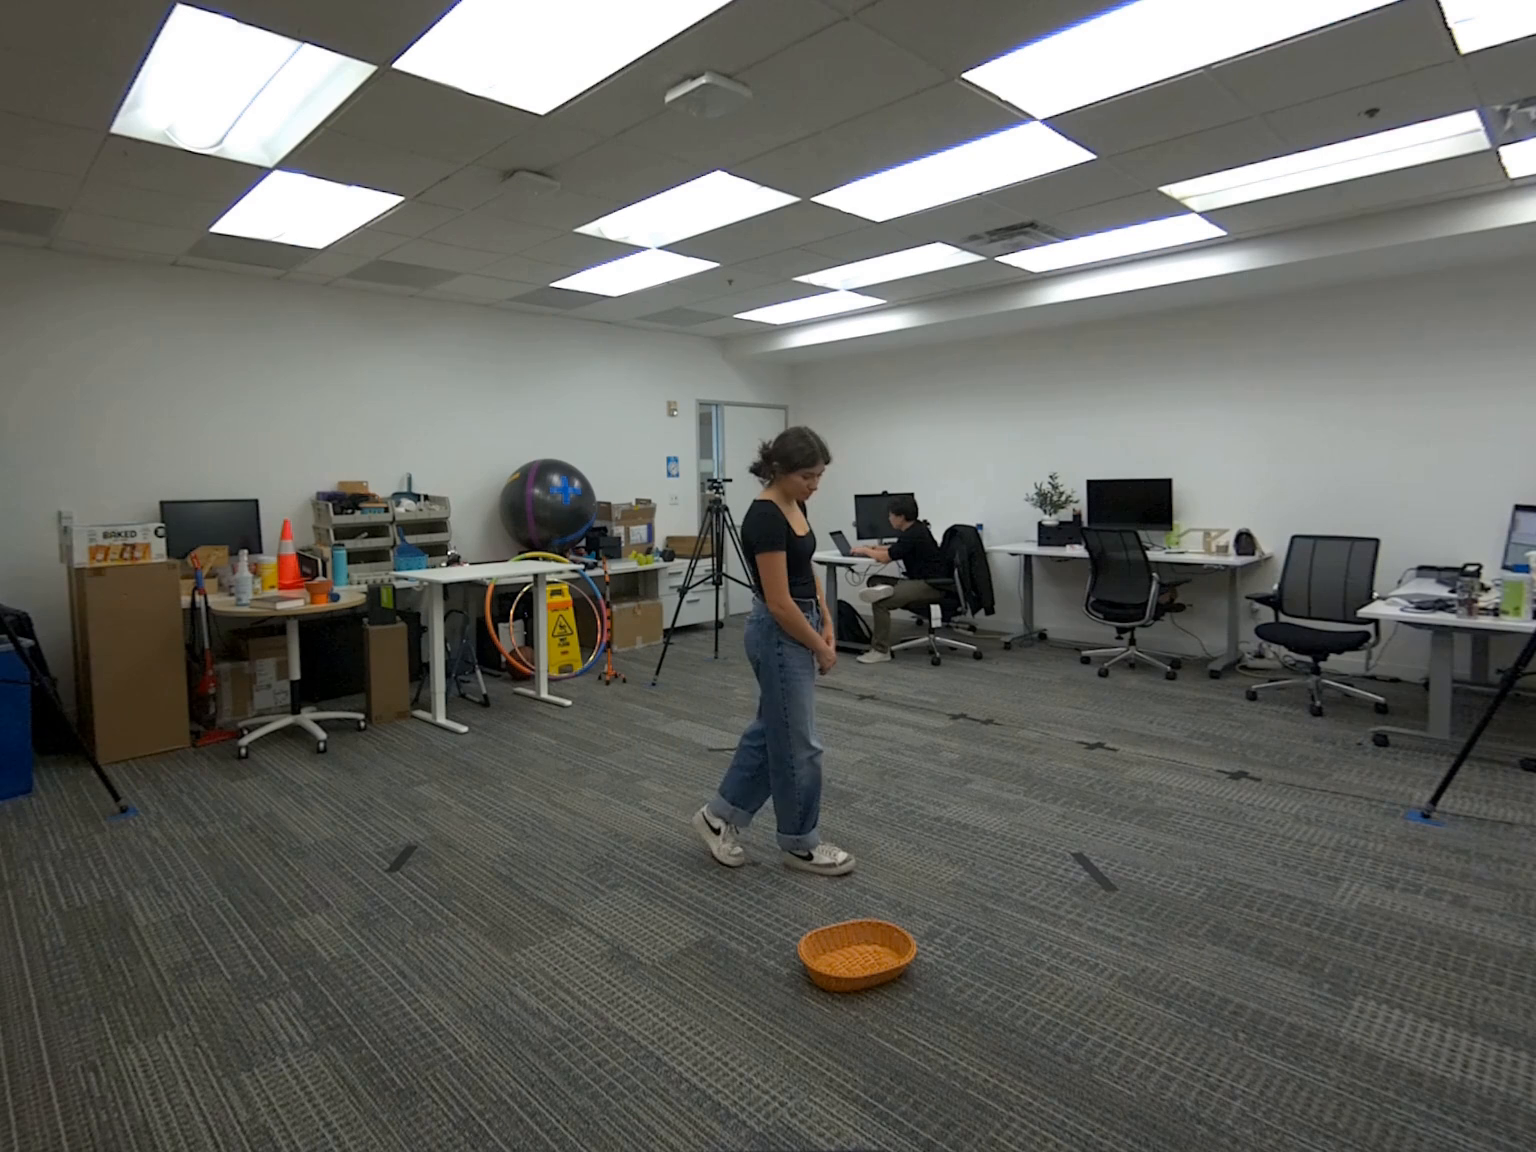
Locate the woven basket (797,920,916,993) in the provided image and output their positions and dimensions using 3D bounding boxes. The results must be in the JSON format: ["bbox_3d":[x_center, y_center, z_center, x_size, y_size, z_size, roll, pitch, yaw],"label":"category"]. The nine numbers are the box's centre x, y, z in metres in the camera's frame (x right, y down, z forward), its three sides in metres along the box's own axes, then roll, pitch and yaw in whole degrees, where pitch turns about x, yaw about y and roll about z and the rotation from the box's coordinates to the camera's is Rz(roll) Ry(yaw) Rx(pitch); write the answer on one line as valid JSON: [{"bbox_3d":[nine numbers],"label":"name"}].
[{"bbox_3d":[0.256,1.082,2.422,0.343,0.073,0.259,-4,8,-23],"label":"woven basket"}]
